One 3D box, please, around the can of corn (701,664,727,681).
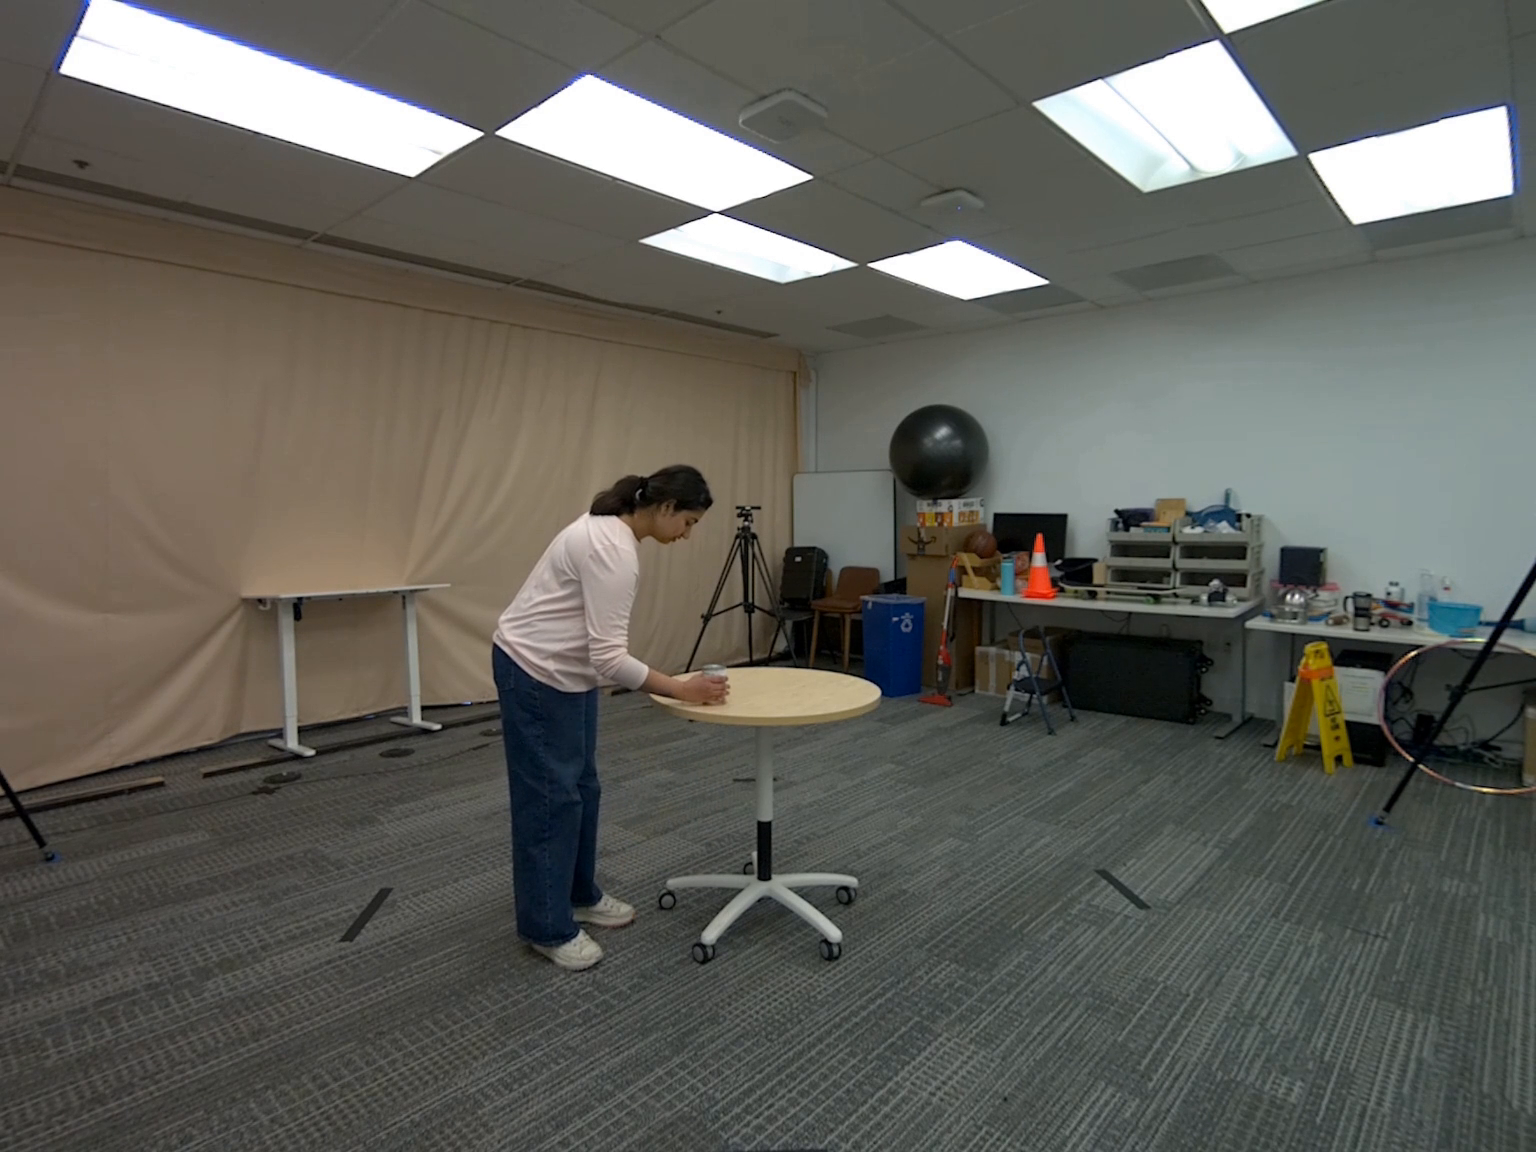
[{"bbox_3d":[-0.162,0.342,2.581,0.074,0.110,0.074,-5,5,-1],"label":"can of corn"}]
